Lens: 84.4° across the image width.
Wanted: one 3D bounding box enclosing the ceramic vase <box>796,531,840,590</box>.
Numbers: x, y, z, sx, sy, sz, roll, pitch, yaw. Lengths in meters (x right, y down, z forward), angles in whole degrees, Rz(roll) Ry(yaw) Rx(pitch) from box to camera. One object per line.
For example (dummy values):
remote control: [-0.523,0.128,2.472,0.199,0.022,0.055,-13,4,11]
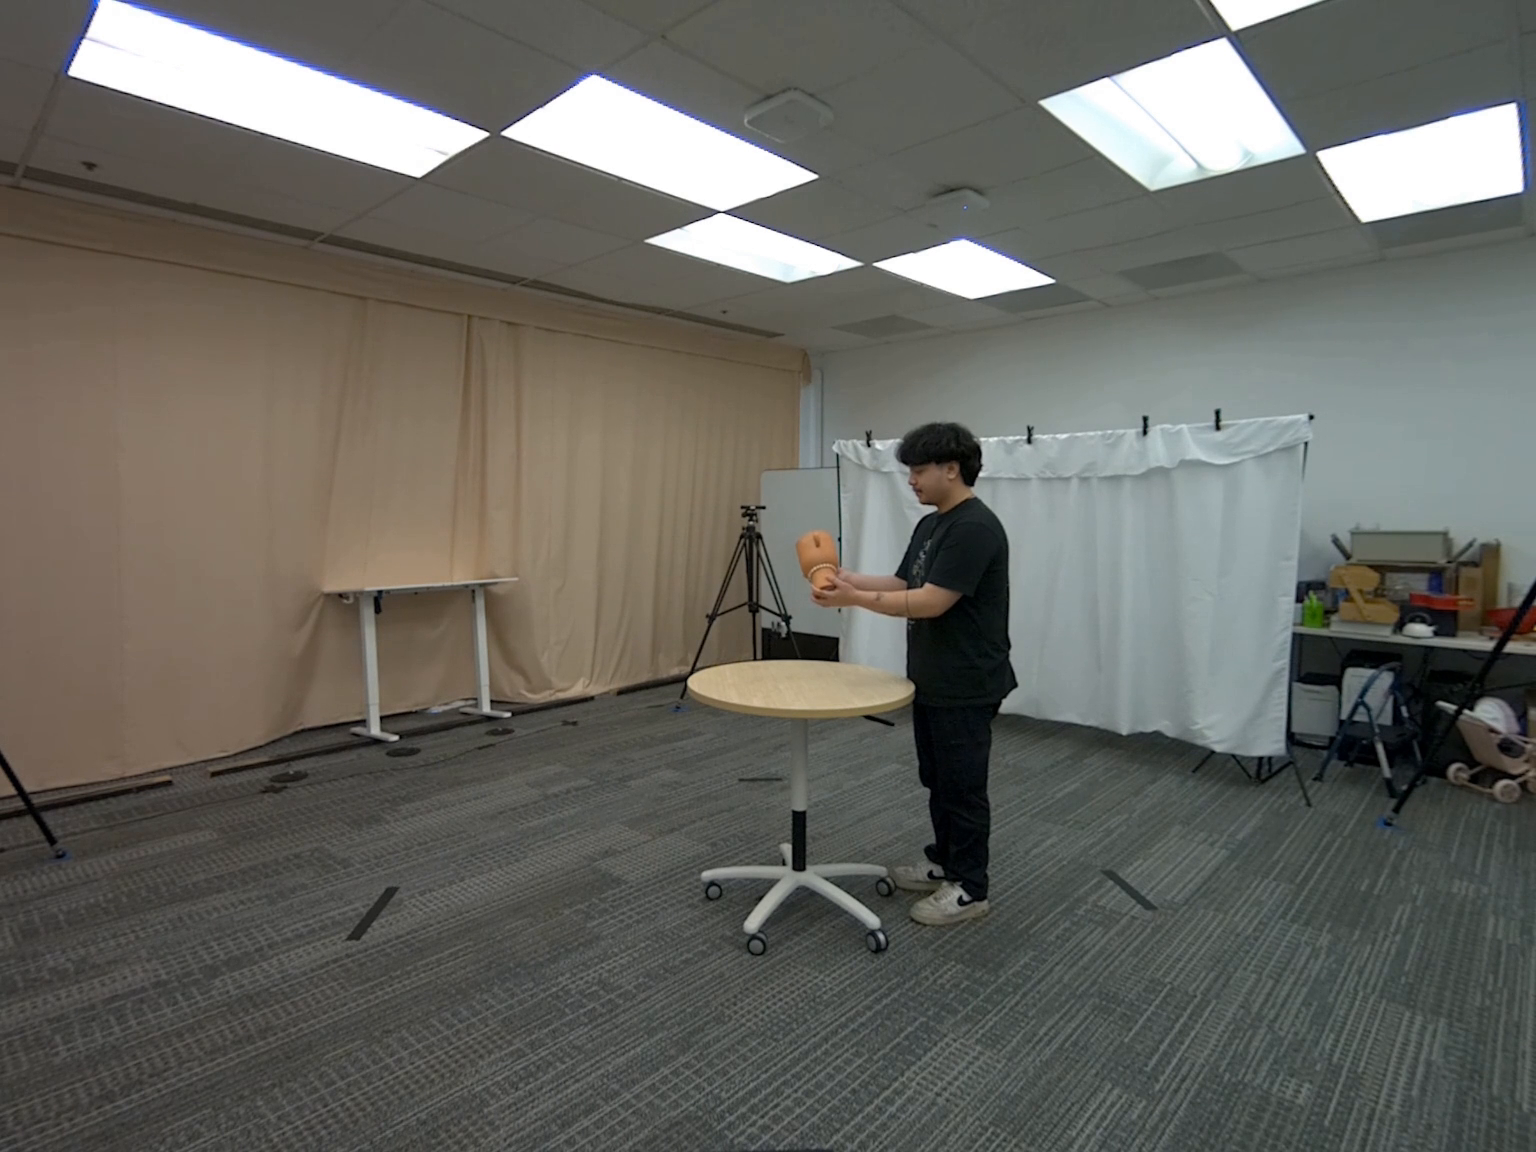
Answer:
ceramic vase: [0.189,-0.030,2.876,0.153,0.225,0.136,26,-52,-39]
